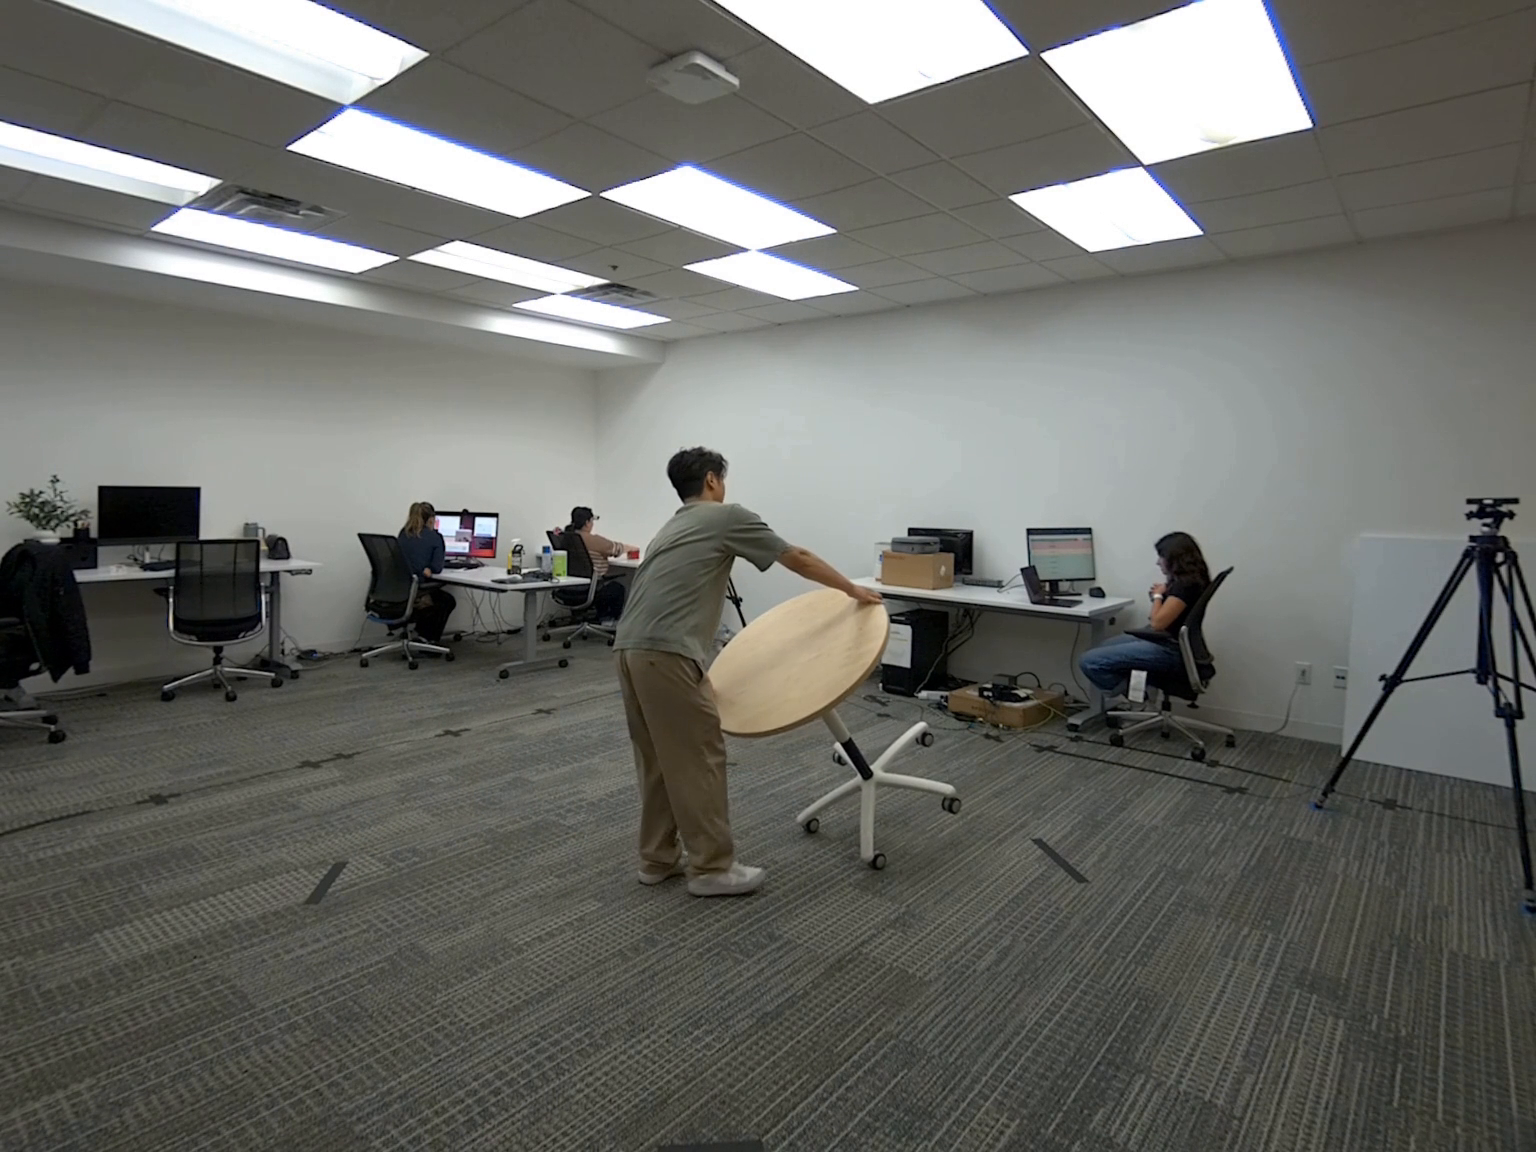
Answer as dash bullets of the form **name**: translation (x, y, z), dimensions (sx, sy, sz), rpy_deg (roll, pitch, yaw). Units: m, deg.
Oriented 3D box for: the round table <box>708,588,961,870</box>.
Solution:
- **round table**: translation (0.277, 0.588, 3.264), dimensions (0.789, 0.764, 0.803), rpy_deg (-27, 23, 11)
